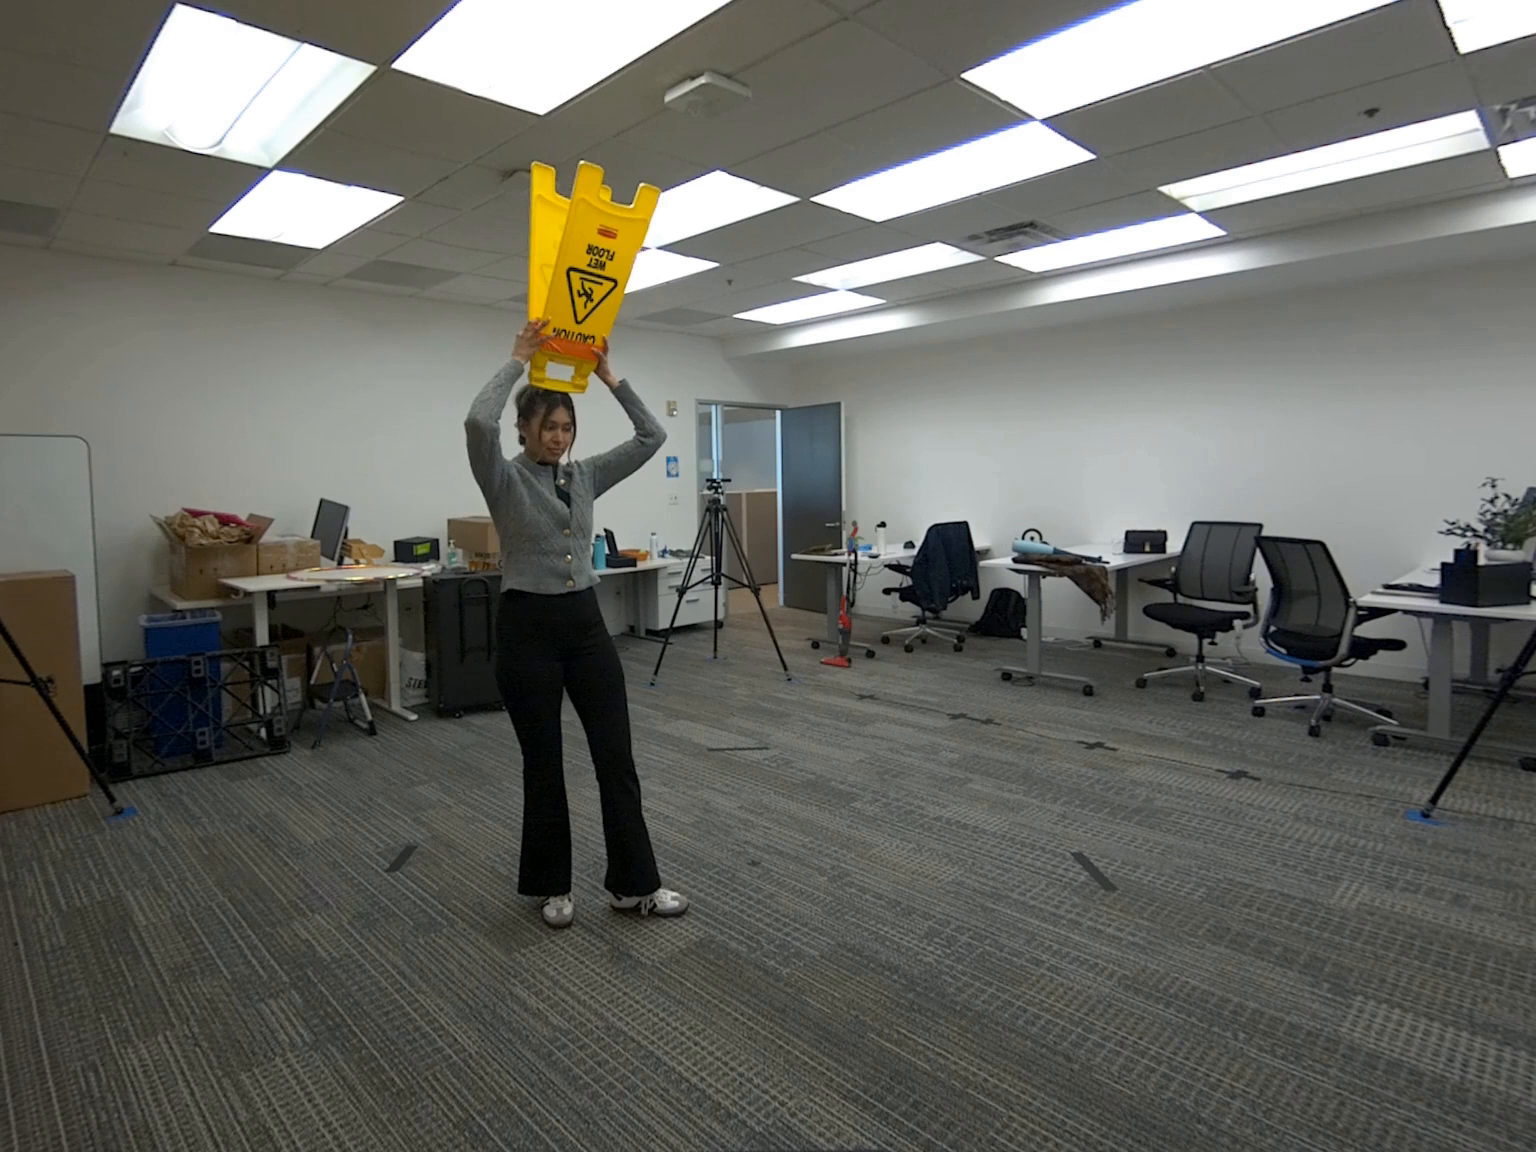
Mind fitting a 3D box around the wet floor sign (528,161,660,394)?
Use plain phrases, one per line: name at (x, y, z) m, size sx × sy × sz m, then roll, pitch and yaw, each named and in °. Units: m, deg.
wet floor sign at (-0.578, -0.881, 2.597) m, size 0.274 × 0.640 × 0.301 m, roll 2°, pitch 18°, yaw -42°
